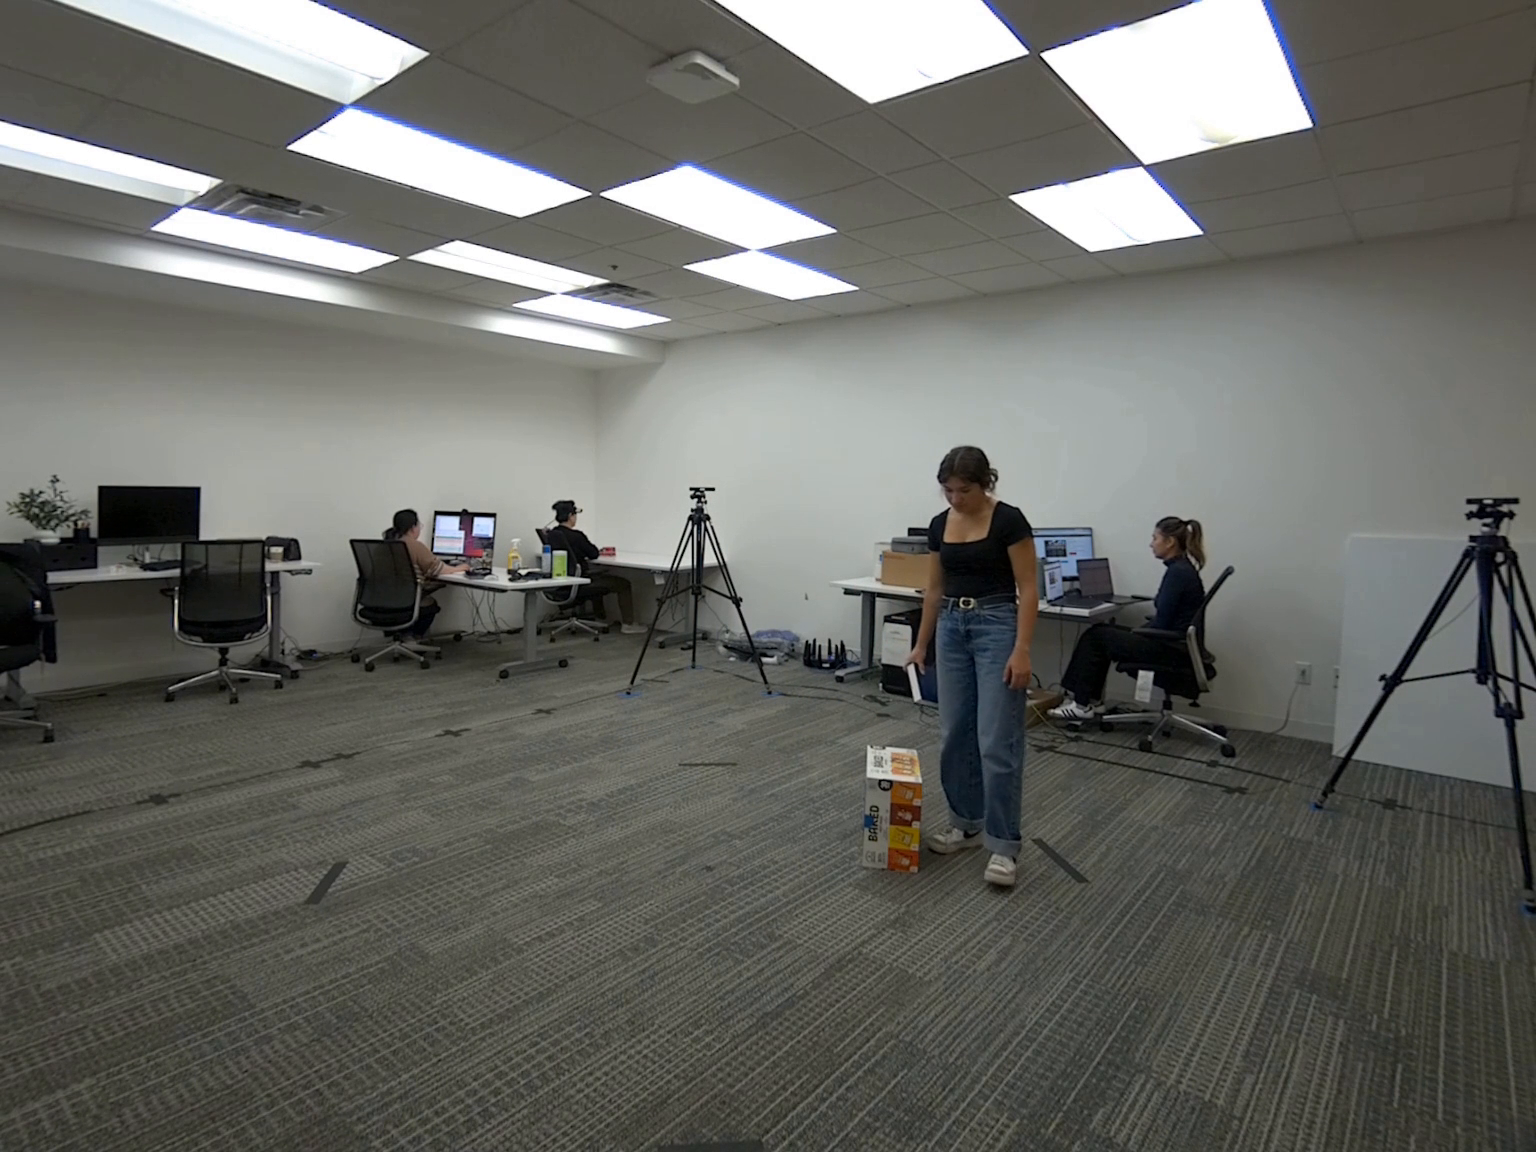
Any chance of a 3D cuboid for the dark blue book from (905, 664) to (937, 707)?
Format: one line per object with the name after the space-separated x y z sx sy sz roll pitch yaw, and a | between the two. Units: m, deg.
0.664 0.449 3.462 0.236 0.168 0.045 19 -39 -34 | dark blue book
